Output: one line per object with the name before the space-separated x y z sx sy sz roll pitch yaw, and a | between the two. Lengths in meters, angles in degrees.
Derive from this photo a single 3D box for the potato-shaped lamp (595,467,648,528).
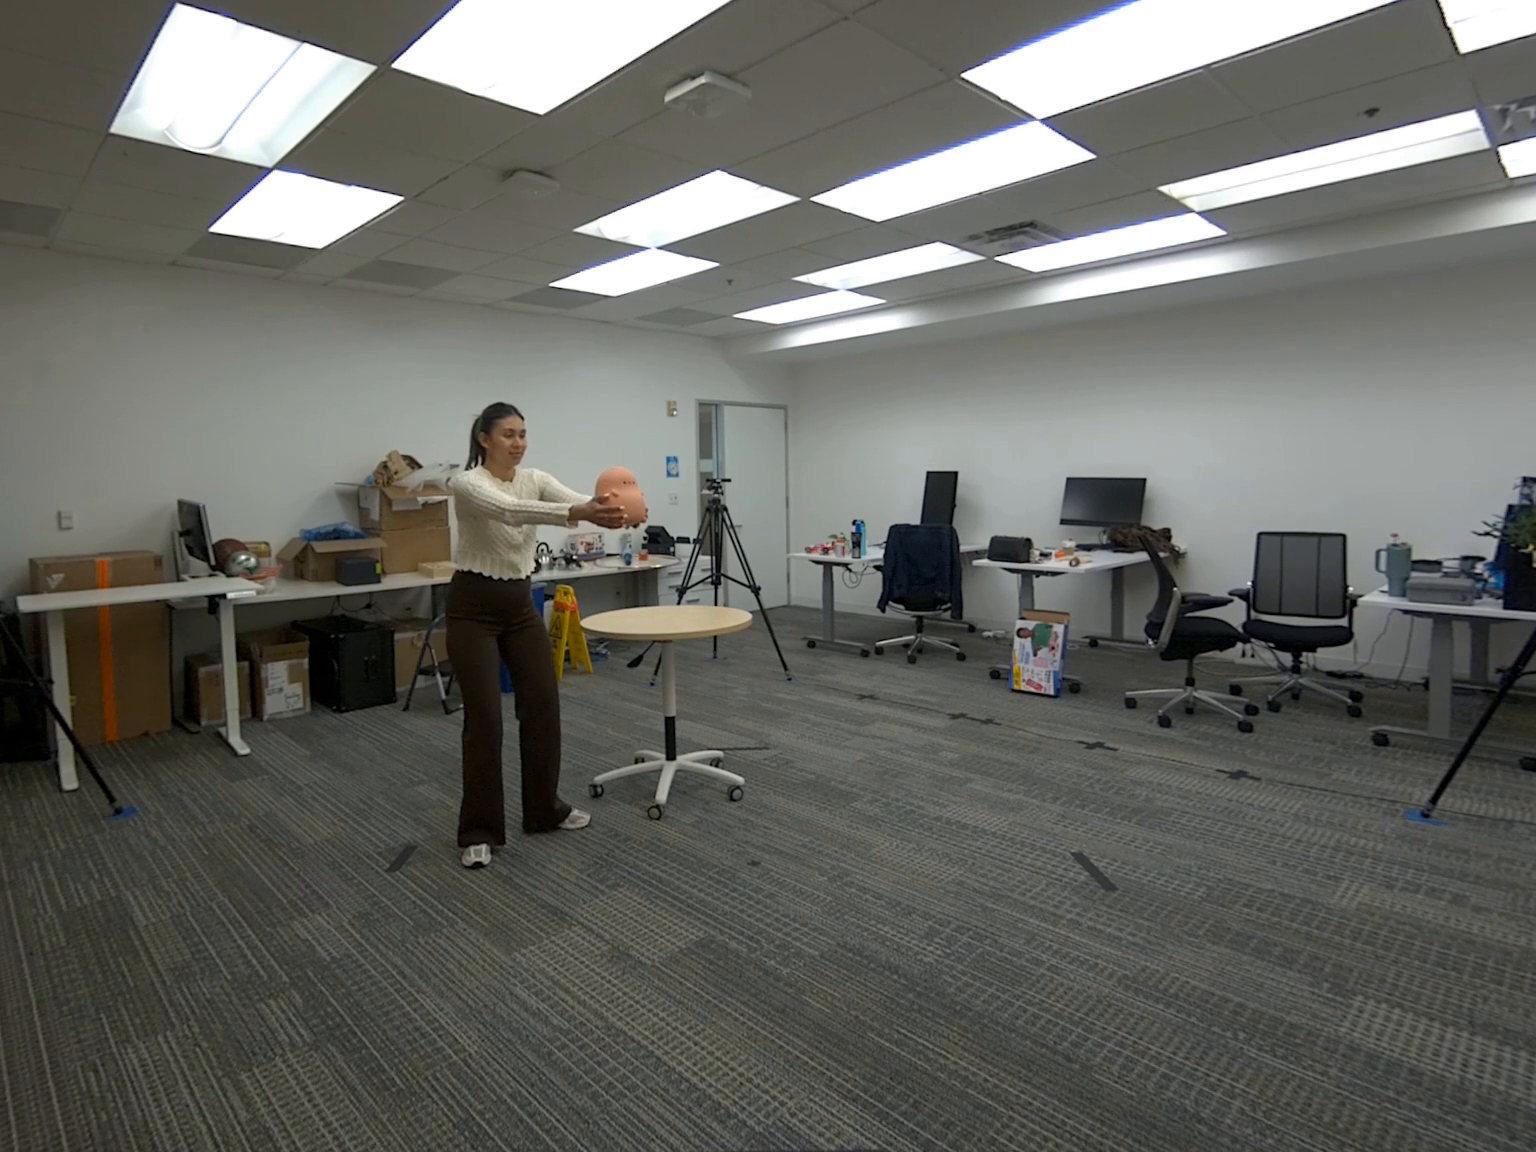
potato-shaped lamp | -0.503 -0.265 2.878 0.160 0.198 0.176 -5 4 -44
